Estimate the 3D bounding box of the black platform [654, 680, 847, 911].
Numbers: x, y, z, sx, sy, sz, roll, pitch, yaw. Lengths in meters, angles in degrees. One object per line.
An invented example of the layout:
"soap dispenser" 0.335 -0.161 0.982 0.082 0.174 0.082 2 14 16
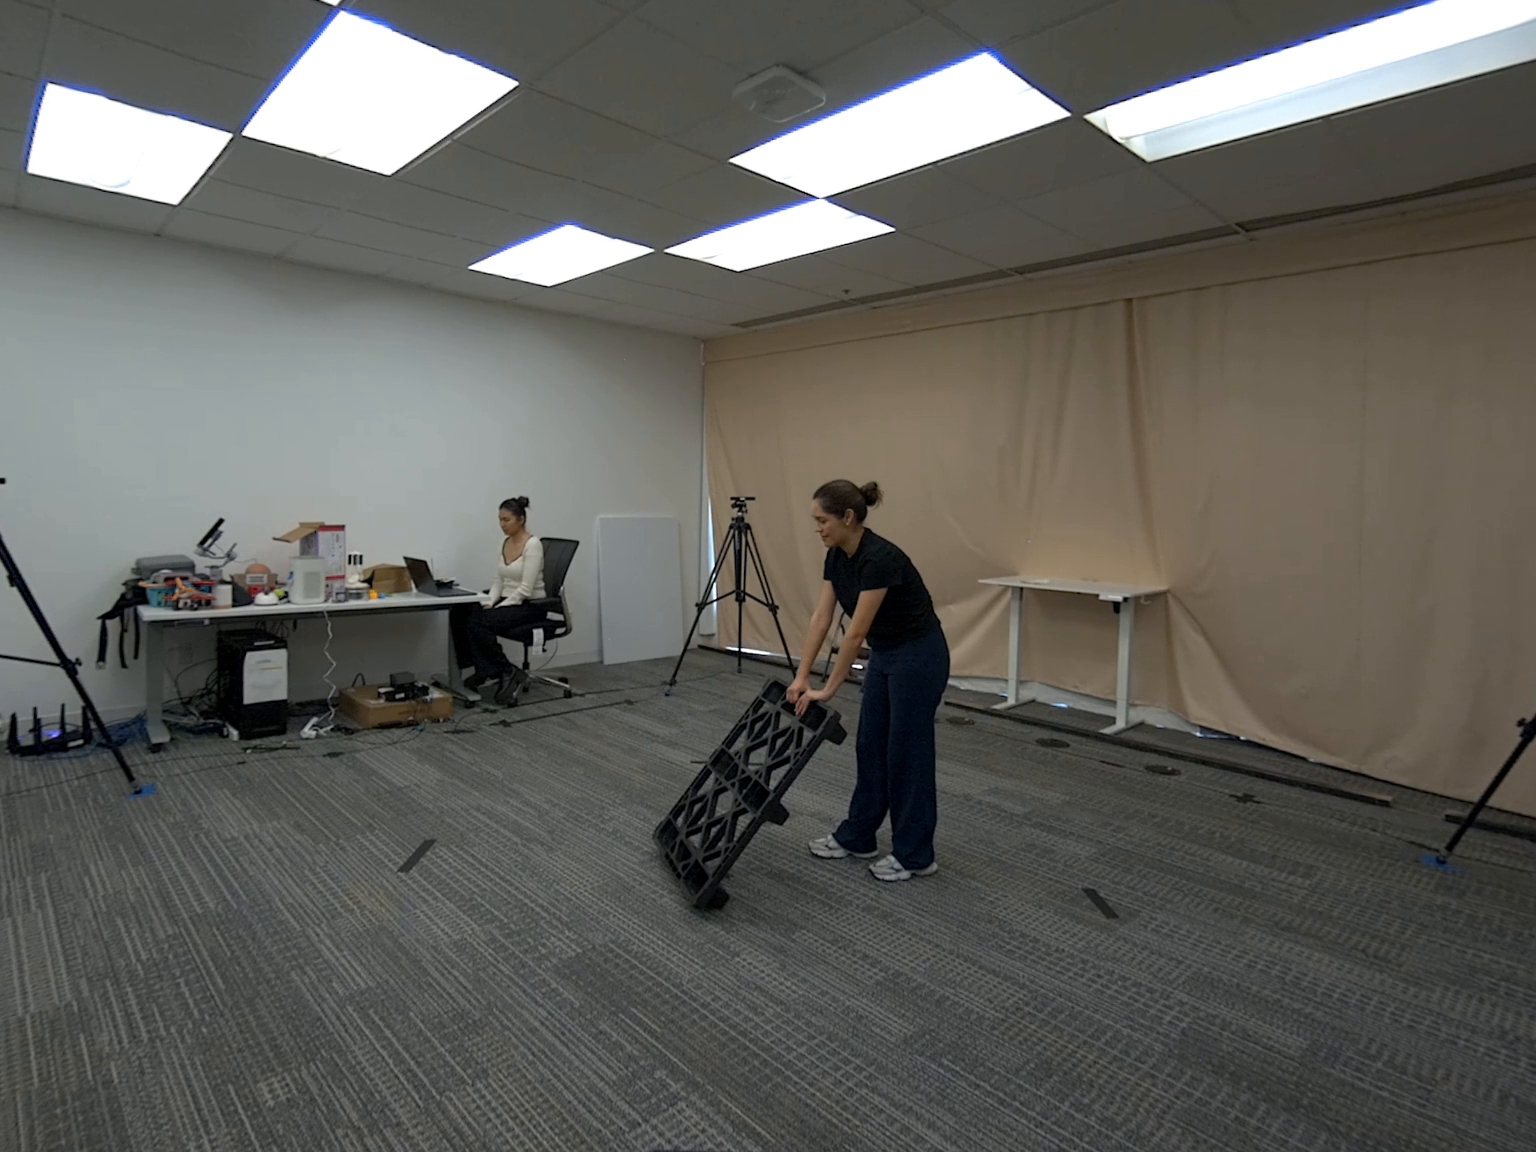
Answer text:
"black platform" -0.072 0.787 3.092 0.141 0.806 0.615 40 -9 -18
